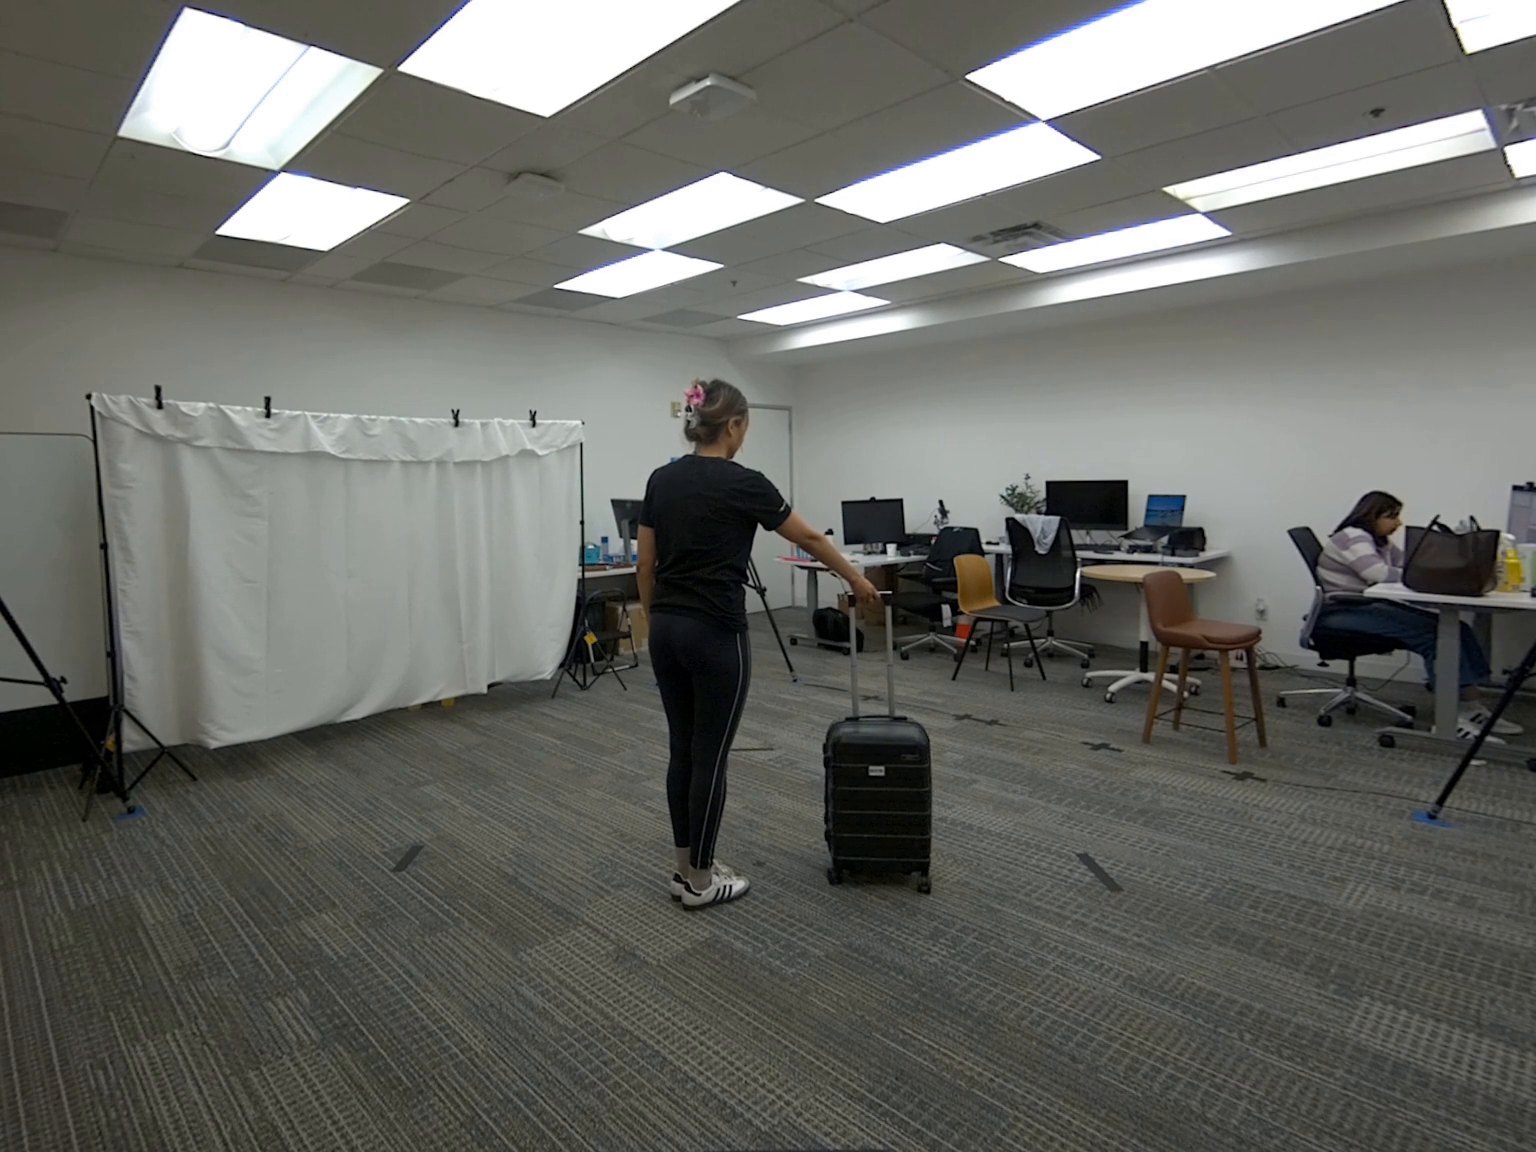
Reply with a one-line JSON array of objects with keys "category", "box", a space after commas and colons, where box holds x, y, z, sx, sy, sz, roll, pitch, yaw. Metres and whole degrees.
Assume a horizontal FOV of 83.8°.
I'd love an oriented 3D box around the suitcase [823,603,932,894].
[{"category": "suitcase", "box": [0.386, 0.578, 2.989, 0.387, 0.975, 0.256, -1, 4, 7]}]
